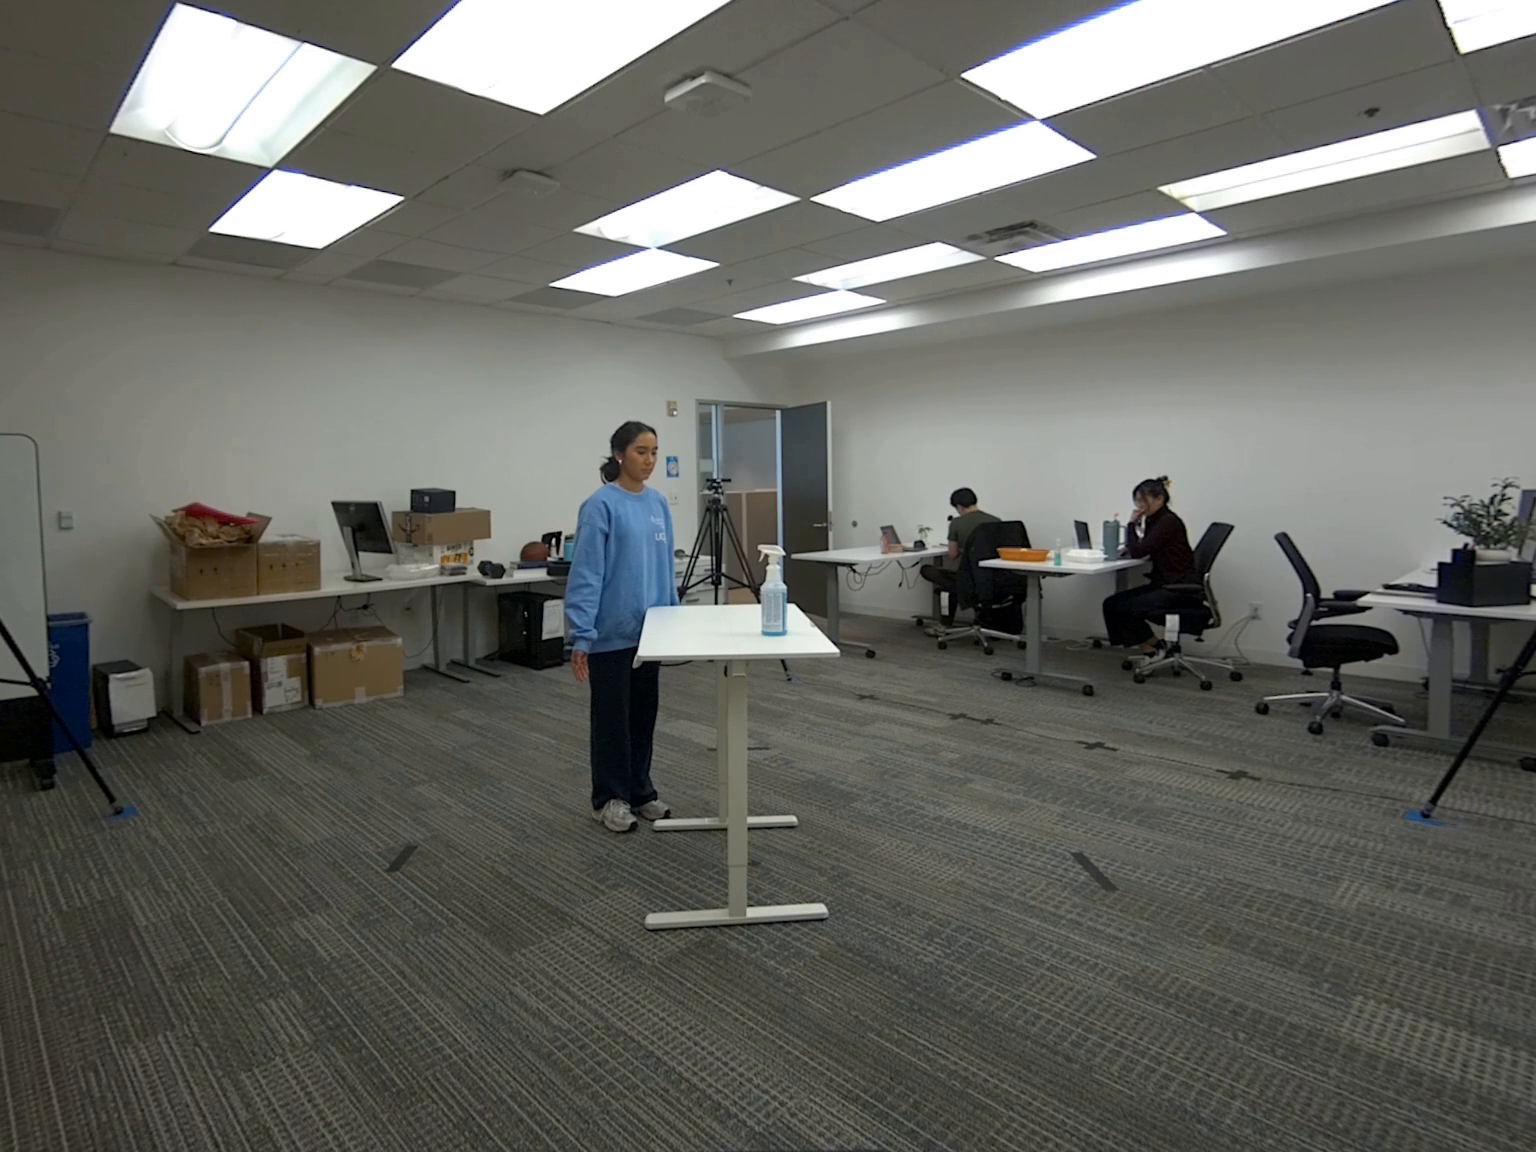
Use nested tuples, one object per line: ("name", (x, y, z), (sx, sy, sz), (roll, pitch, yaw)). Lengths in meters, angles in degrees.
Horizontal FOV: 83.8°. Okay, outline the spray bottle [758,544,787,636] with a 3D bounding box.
("spray bottle", (0.025, 0.049, 2.825), (0.093, 0.296, 0.085), (4, 7, 42))
